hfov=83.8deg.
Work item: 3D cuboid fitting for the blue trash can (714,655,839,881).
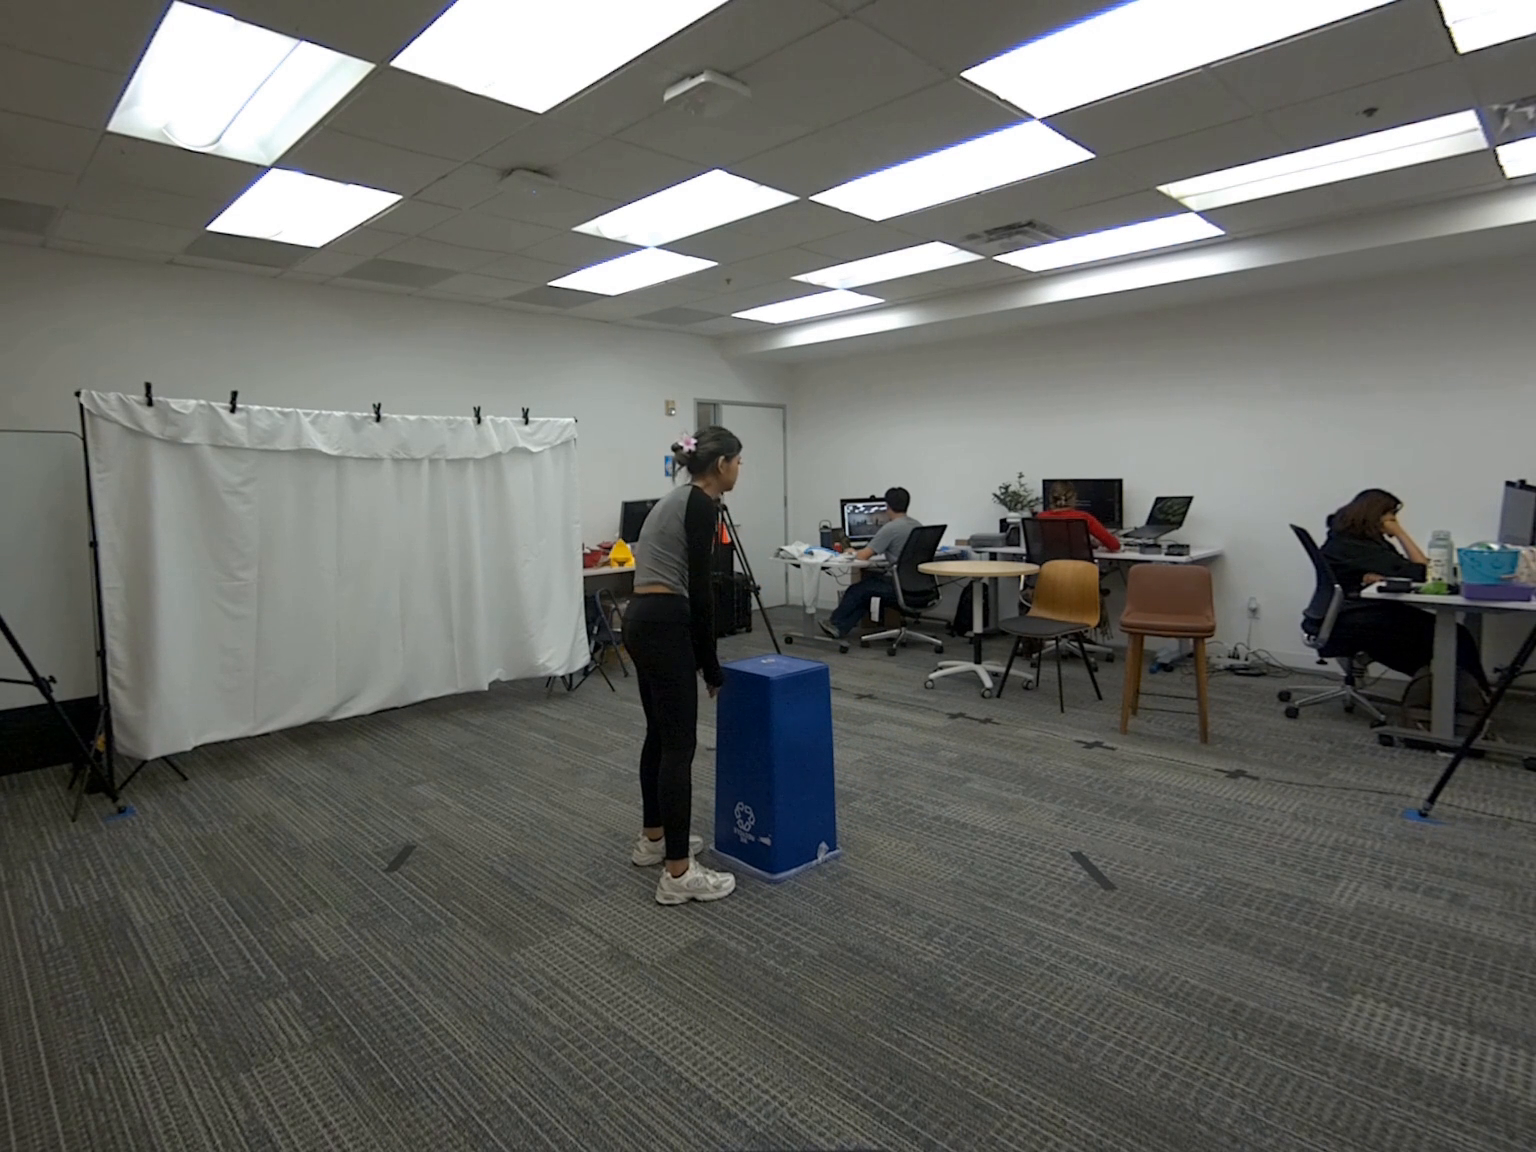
[{"bbox_3d":[0.025,0.681,3.174,0.368,0.712,0.385,-3,4,-41],"label":"blue trash can"}]
